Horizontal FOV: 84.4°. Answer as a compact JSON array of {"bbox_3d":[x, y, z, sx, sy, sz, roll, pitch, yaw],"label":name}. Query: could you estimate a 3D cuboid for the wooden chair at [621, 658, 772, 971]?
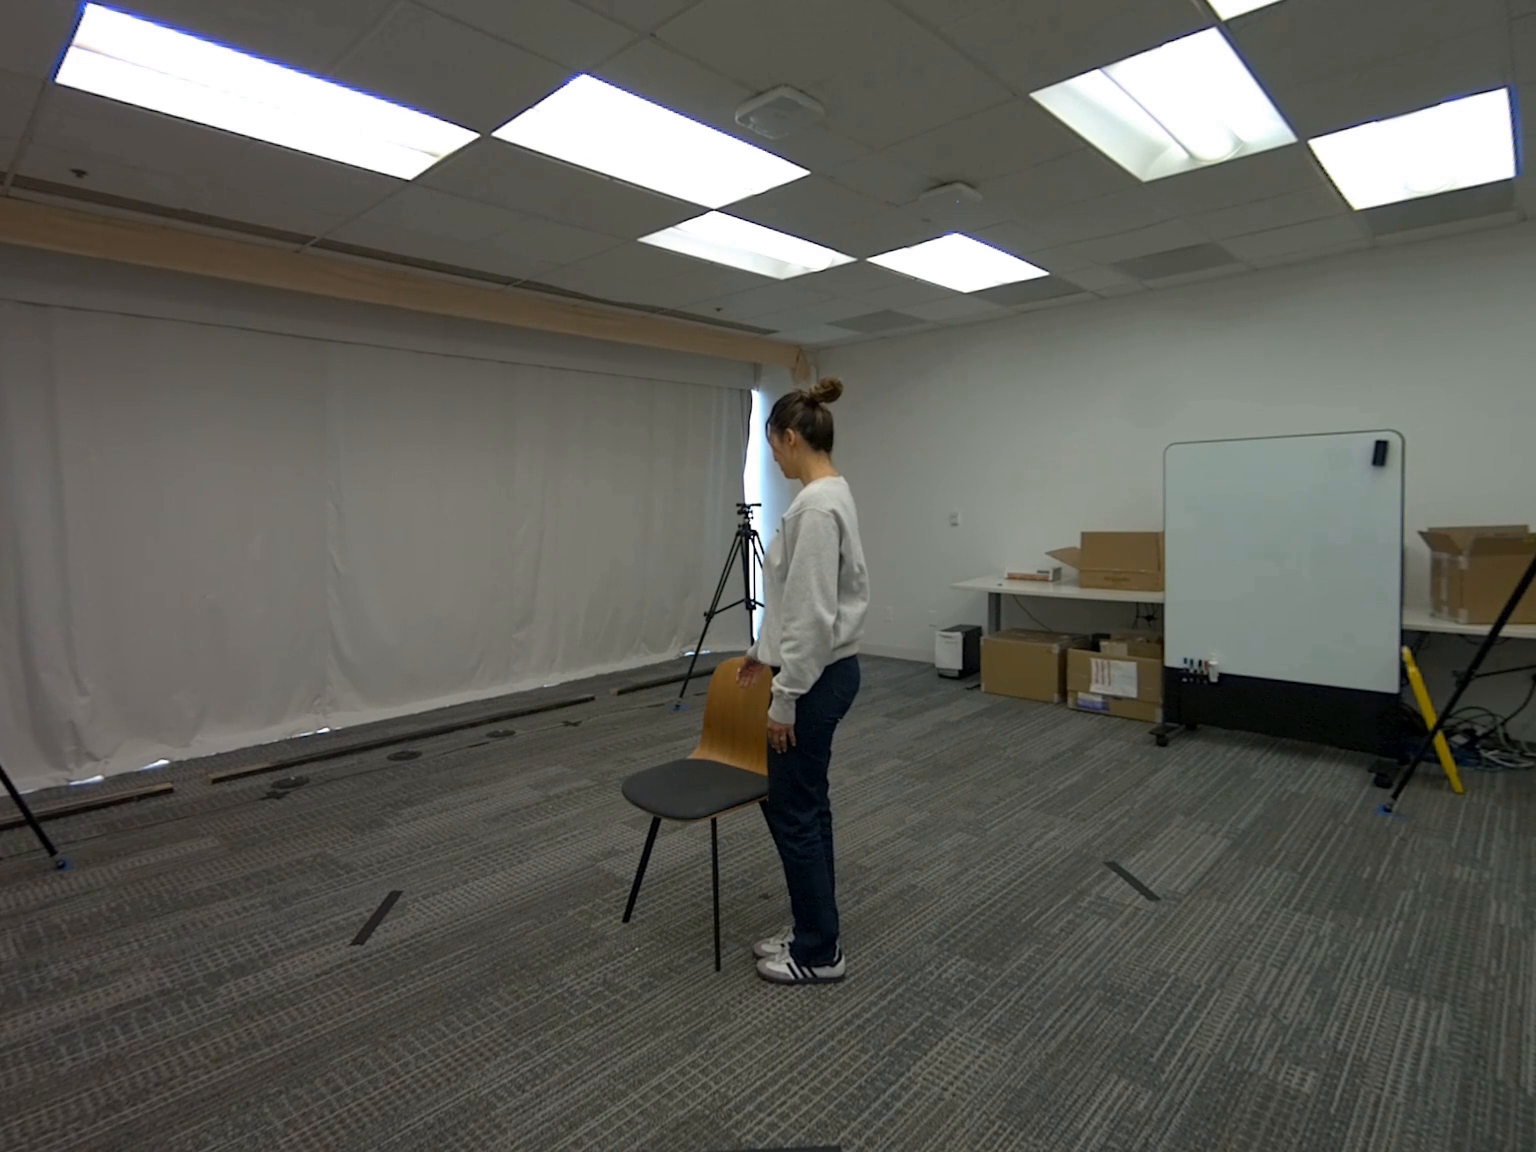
[{"bbox_3d":[-0.183,0.730,2.794,0.494,0.877,0.506,2,1,43],"label":"wooden chair"}]
